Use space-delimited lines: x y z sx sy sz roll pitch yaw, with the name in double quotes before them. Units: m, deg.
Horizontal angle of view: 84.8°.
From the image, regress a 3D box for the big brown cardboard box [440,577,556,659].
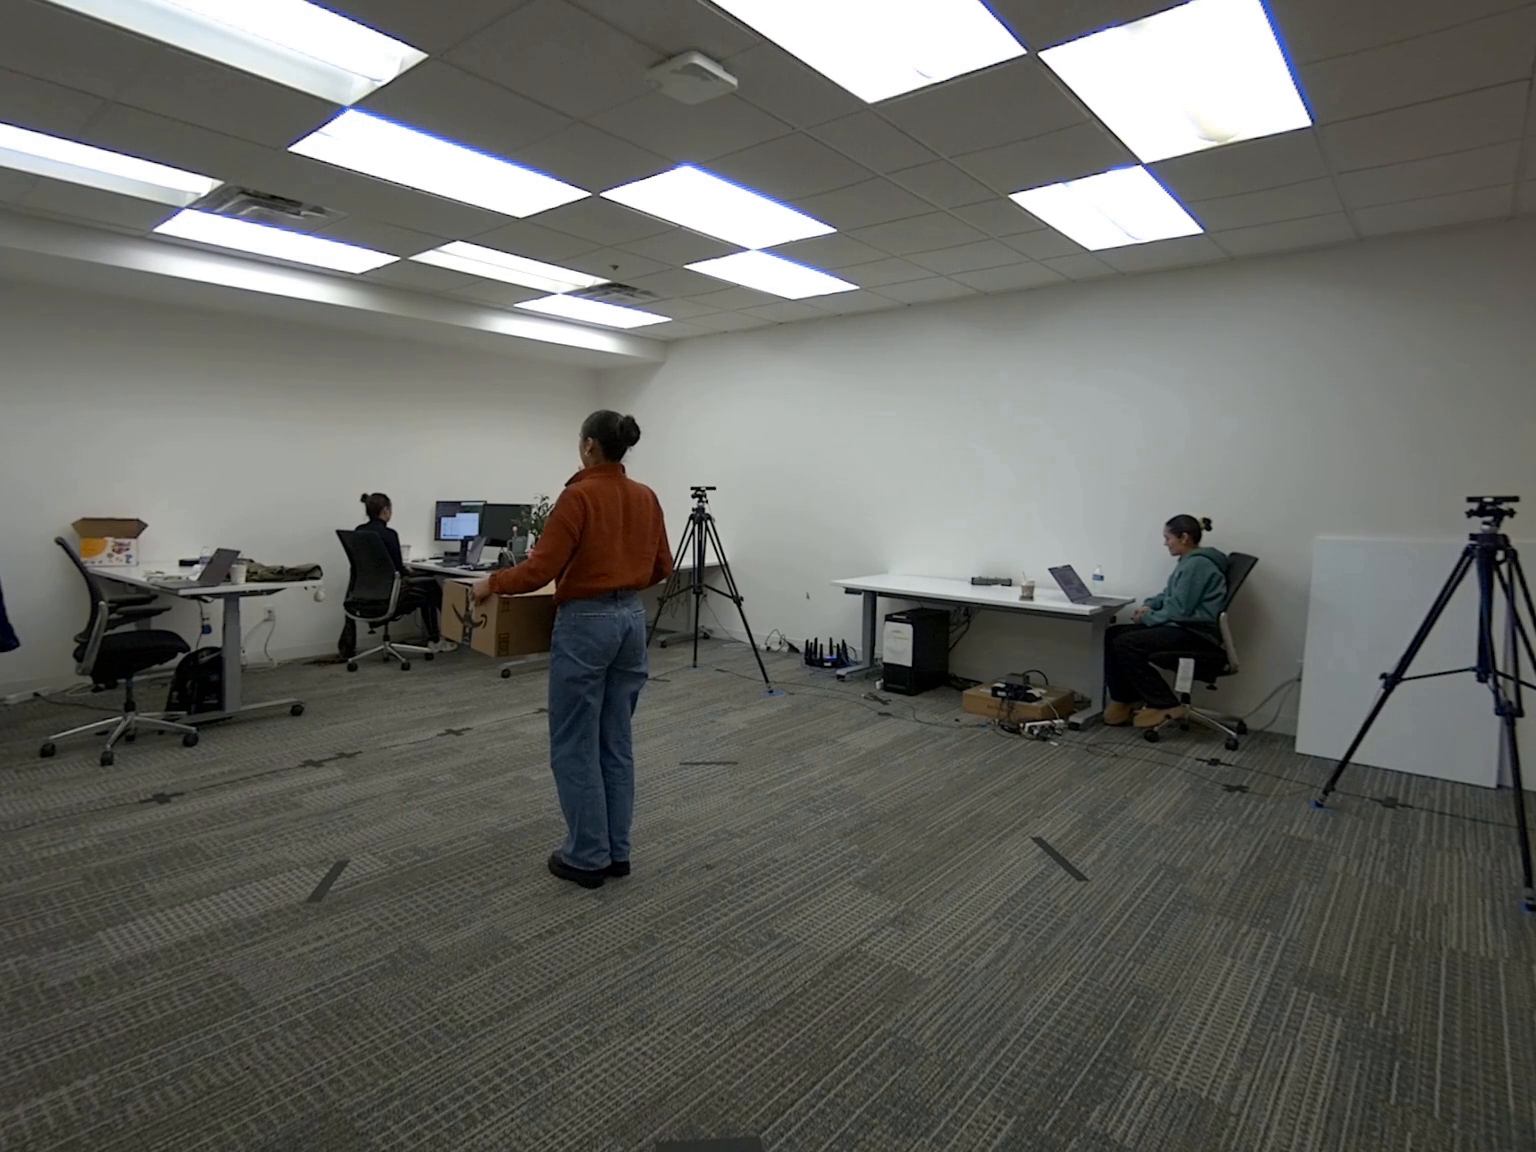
"big brown cardboard box" -0.899 0.131 3.251 0.433 0.232 0.571 10 9 43
